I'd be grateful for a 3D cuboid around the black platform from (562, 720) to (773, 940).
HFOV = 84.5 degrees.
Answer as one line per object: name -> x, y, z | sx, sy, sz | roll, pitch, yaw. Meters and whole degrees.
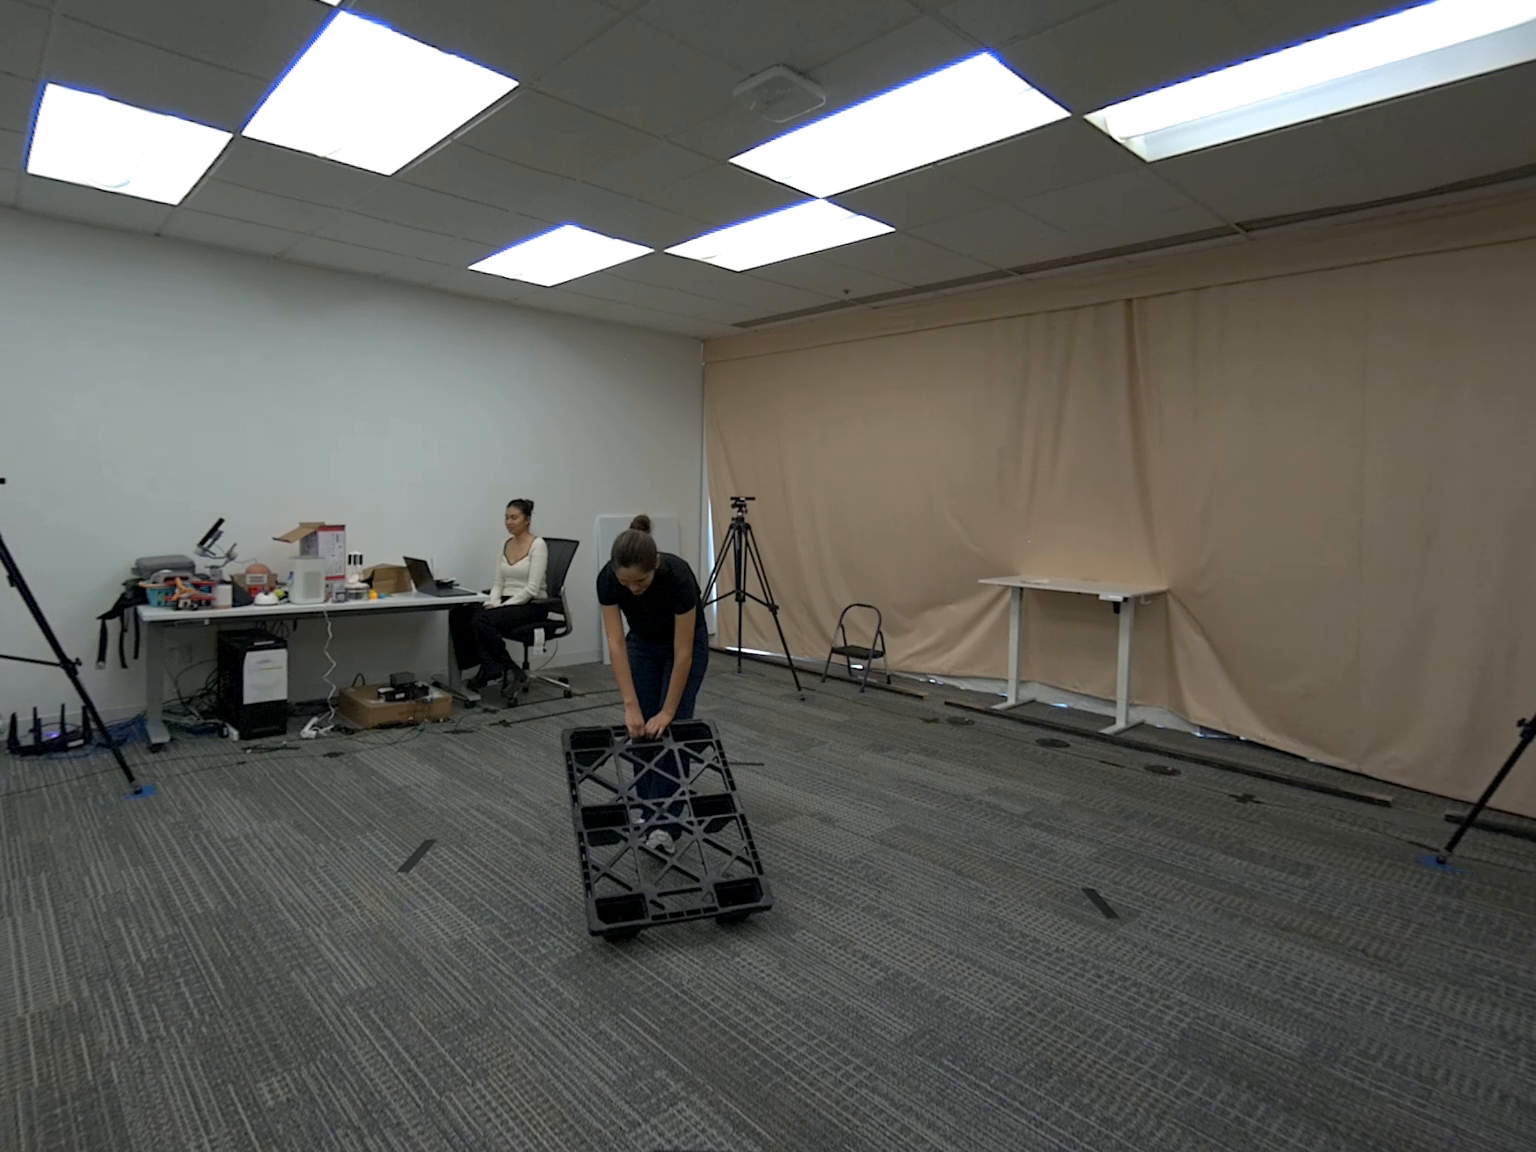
black platform -> -0.387, 0.861, 2.933 | 0.595, 0.141, 0.830 | 0, 38, -21
